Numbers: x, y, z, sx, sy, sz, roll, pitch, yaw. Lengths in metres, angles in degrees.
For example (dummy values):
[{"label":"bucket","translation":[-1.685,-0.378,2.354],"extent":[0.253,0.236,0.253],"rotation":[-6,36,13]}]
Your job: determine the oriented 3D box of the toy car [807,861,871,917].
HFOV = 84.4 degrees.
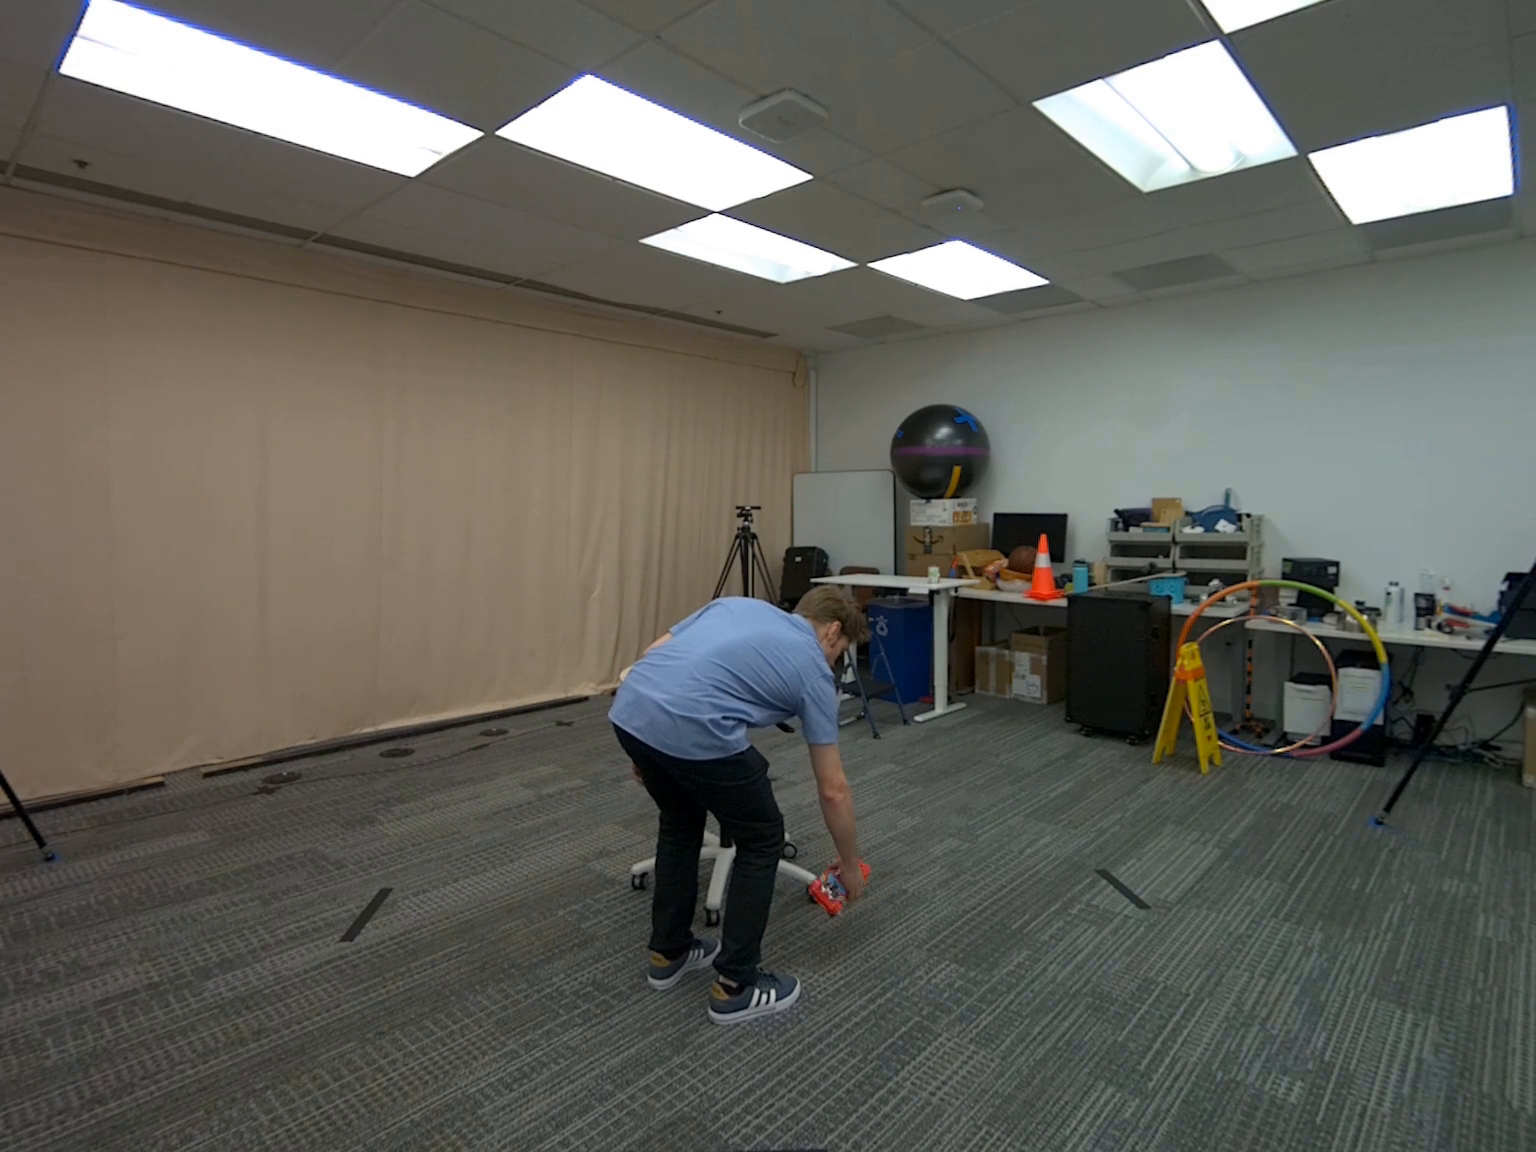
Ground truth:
[{"label":"toy car","translation":[0.234,0.943,2.579],"extent":[0.133,0.083,0.249],"rotation":[44,44,21]}]
